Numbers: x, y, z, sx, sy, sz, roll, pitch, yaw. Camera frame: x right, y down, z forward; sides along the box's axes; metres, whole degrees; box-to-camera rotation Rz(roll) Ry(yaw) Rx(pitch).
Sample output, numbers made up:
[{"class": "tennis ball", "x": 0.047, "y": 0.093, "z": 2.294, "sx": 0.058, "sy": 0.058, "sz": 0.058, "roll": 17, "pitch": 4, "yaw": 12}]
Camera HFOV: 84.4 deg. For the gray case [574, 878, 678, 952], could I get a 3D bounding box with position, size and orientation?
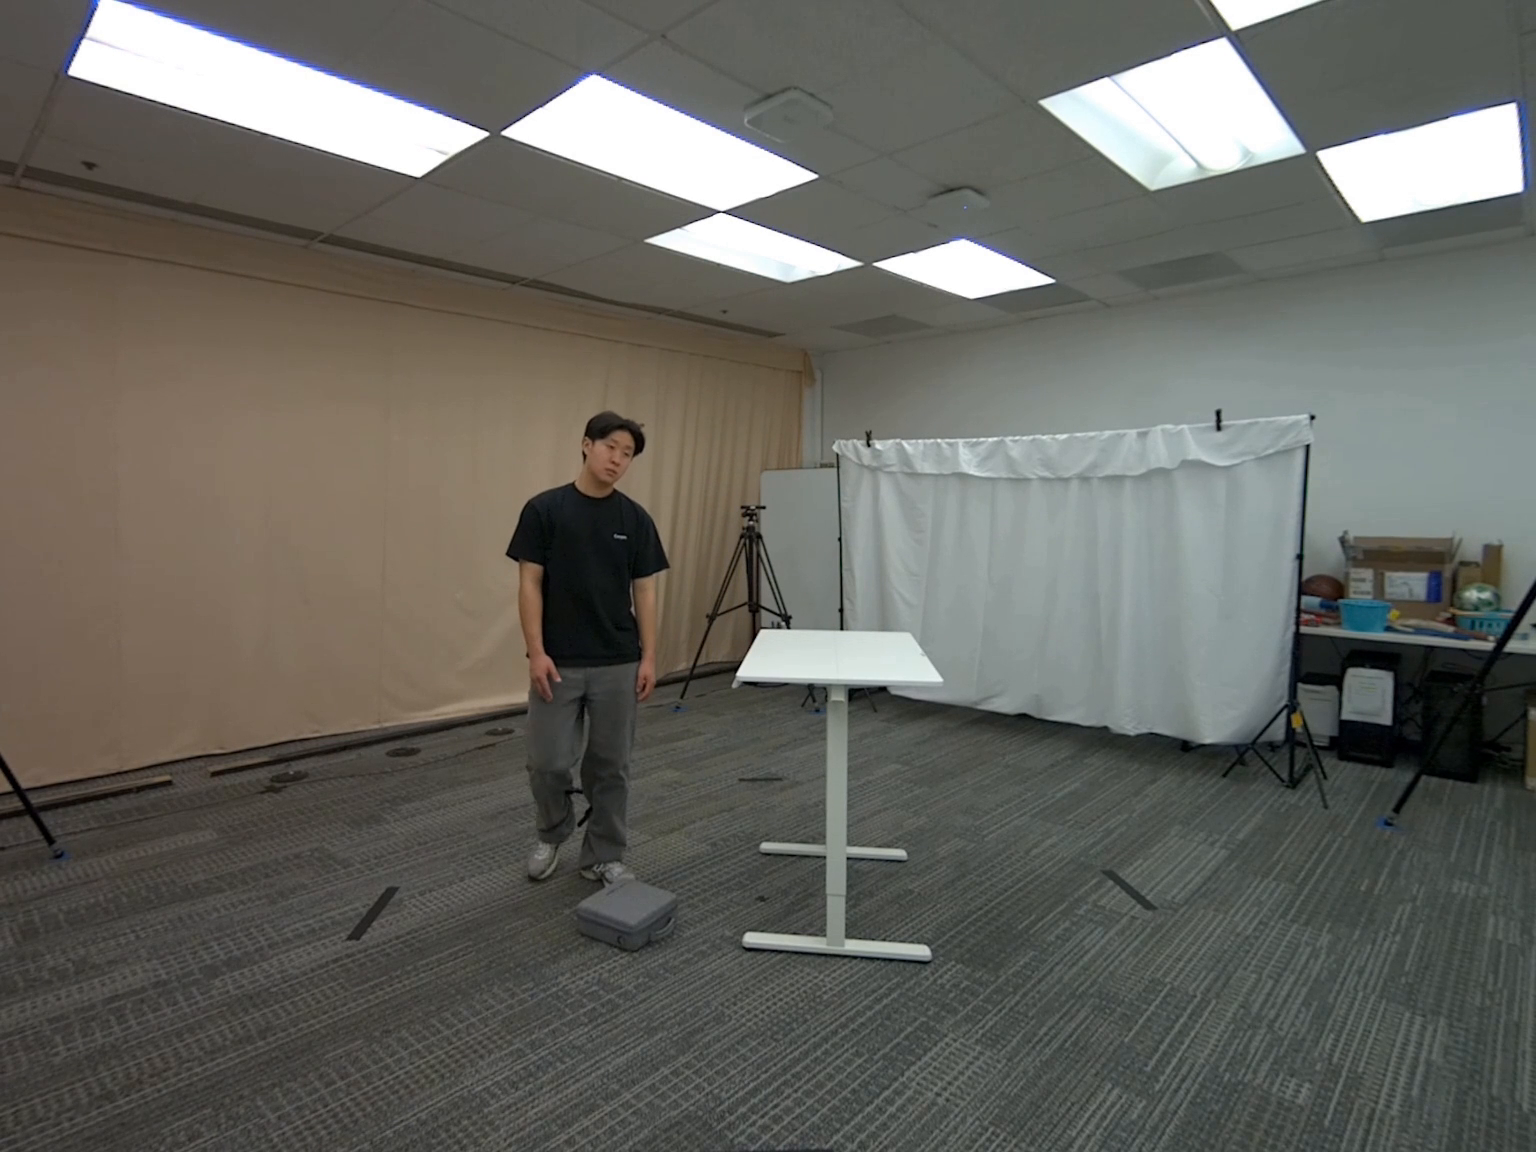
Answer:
[{"class": "gray case", "x": -0.450, "y": 1.113, "z": 2.769, "sx": 0.296, "sy": 0.103, "sz": 0.256, "roll": 4, "pitch": 7, "yaw": 32}]
